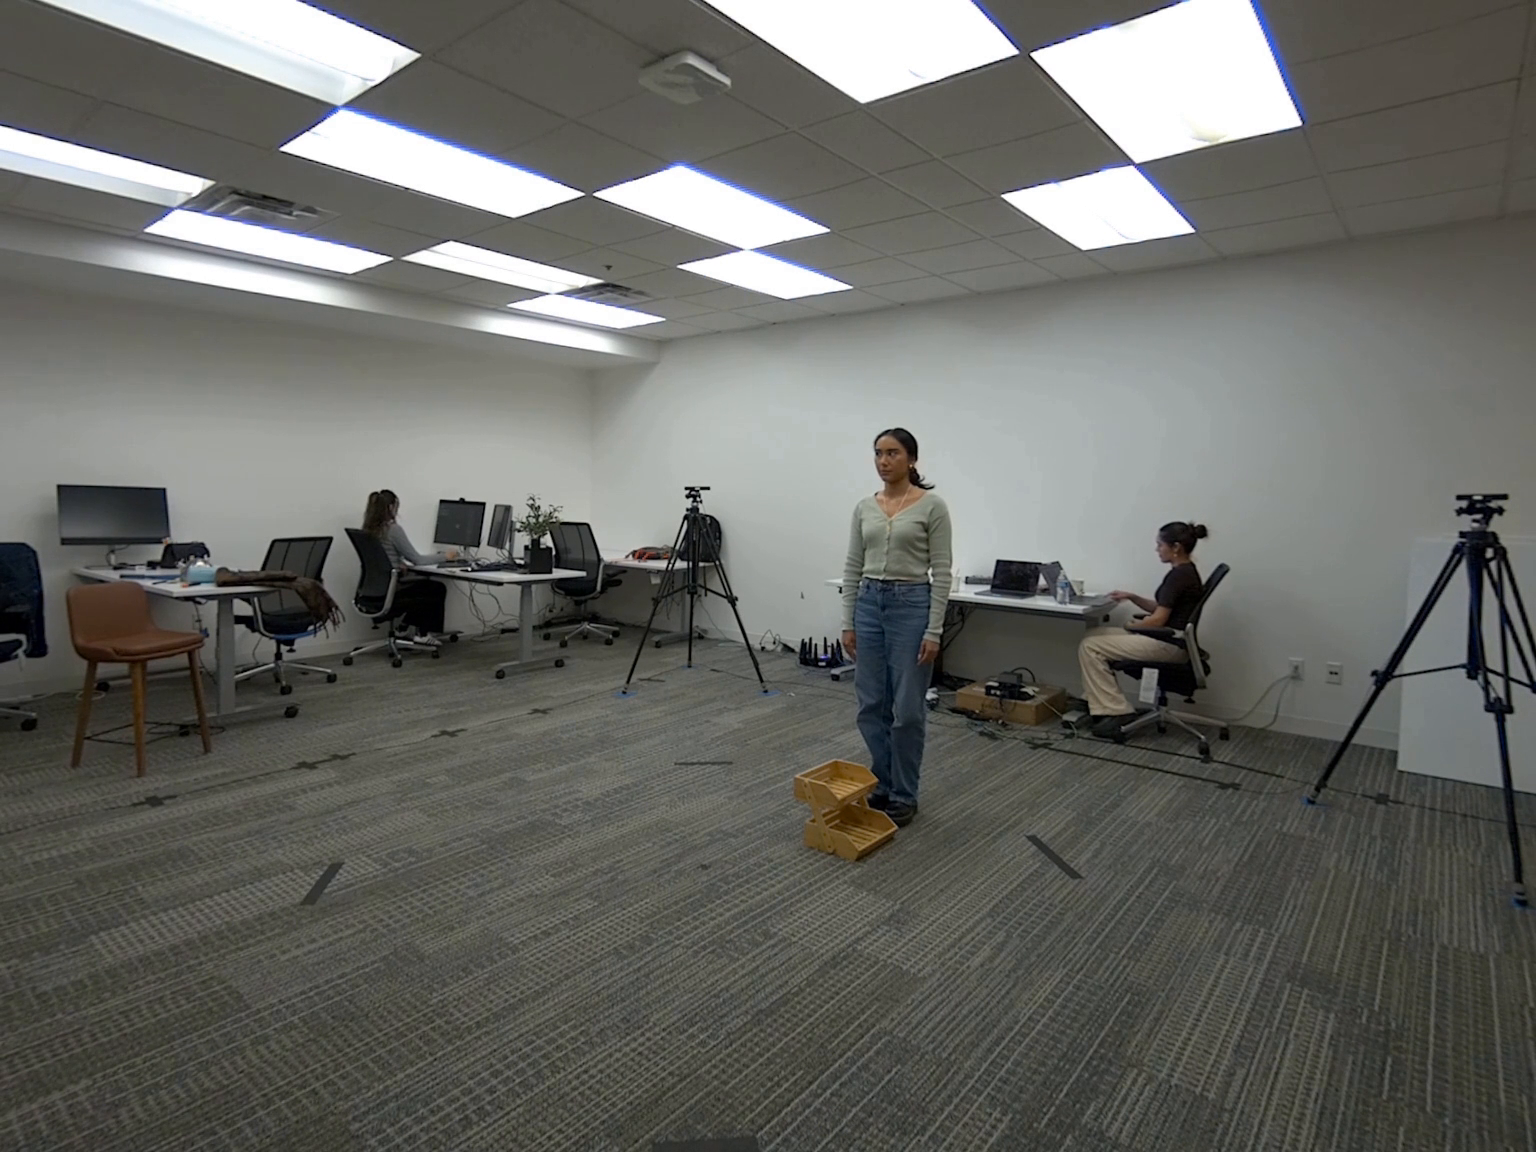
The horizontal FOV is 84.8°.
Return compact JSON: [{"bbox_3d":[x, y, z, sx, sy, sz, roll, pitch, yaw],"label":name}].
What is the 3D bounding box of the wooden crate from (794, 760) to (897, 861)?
[{"bbox_3d":[0.305,0.913,3.379,0.312,0.272,0.315,3,5,39],"label":"wooden crate"}]
